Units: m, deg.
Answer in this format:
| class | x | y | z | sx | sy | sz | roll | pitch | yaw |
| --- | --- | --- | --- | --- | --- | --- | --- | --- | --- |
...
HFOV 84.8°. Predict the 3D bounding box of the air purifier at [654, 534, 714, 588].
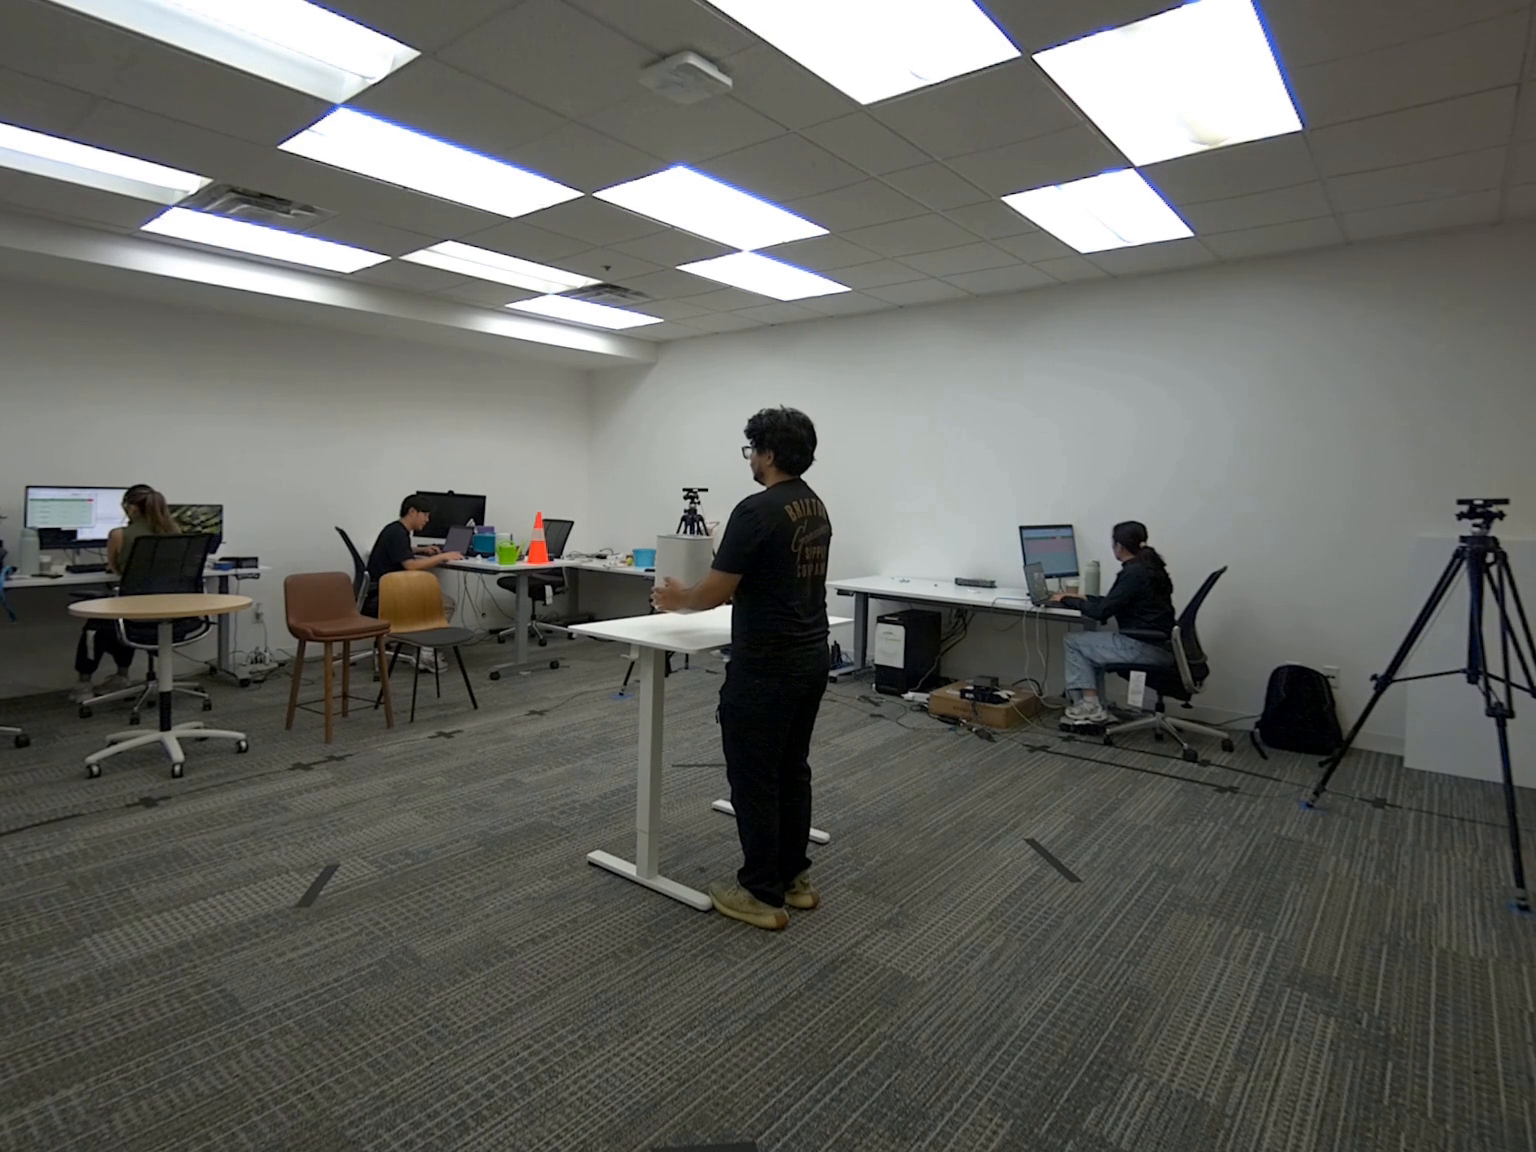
| class | x | y | z | sx | sy | sz | roll | pitch | yaw |
| --- | --- | --- | --- | --- | --- | --- | --- | --- | --- |
| air purifier | -0.305 | -0.012 | 2.983 | 0.176 | 0.264 | 0.167 | 6 | 4 | 31 |
